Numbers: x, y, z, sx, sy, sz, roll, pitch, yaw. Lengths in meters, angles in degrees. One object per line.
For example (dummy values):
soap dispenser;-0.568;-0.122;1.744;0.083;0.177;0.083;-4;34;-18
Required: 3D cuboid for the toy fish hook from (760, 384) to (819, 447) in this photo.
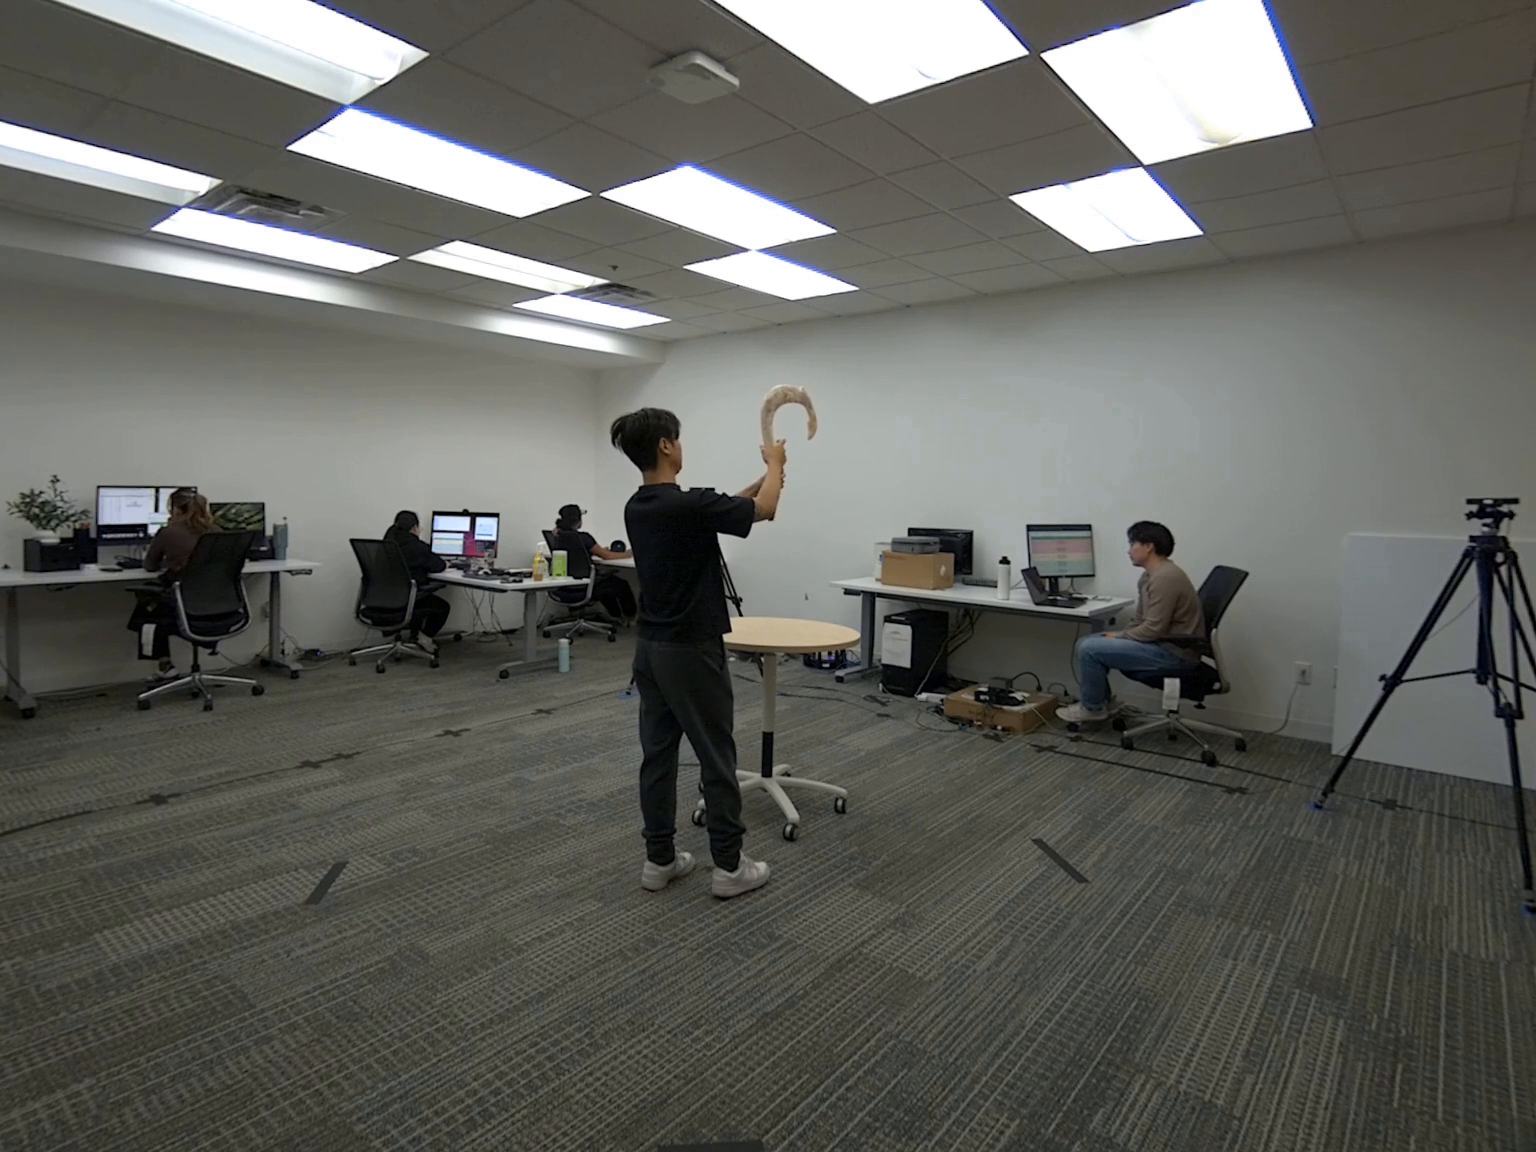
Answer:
toy fish hook;0.063;-0.460;3.177;0.222;0.504;0.049;5;5;-10
